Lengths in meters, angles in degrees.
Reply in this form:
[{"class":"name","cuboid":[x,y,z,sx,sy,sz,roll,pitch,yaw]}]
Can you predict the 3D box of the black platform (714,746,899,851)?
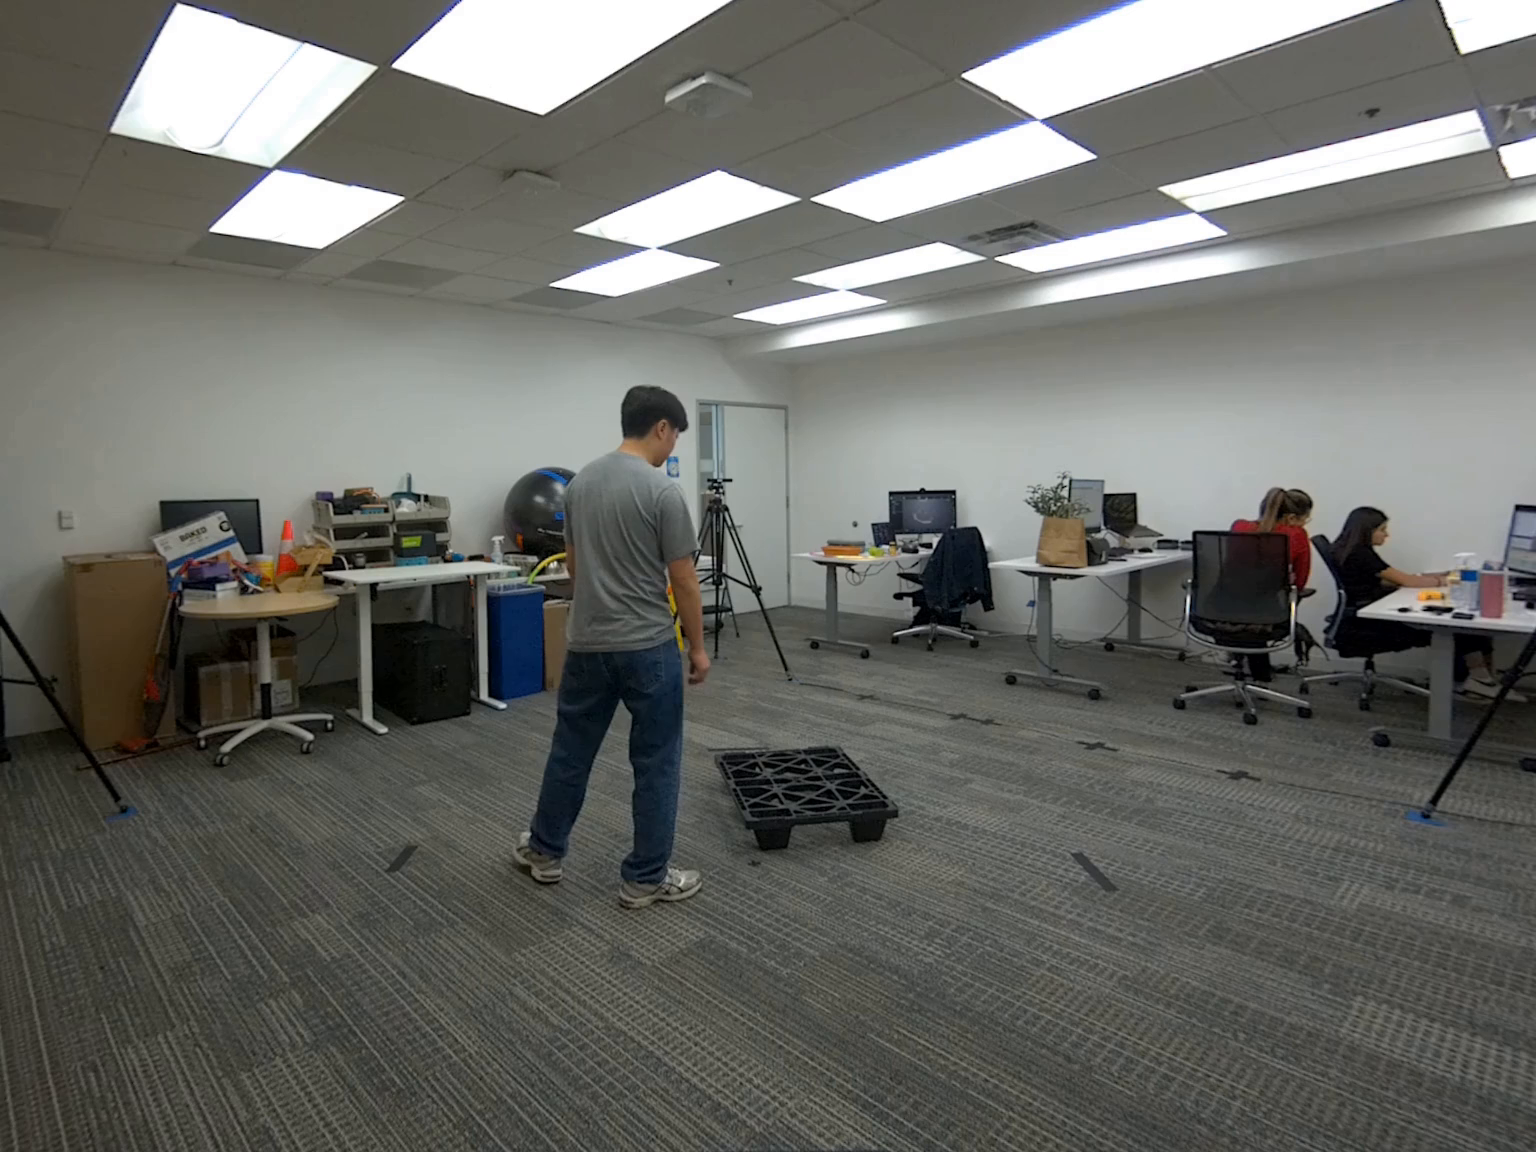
[{"class":"black platform","cuboid":[0.123,0.918,3.604,0.599,0.143,0.817,-2,6,-11]}]
